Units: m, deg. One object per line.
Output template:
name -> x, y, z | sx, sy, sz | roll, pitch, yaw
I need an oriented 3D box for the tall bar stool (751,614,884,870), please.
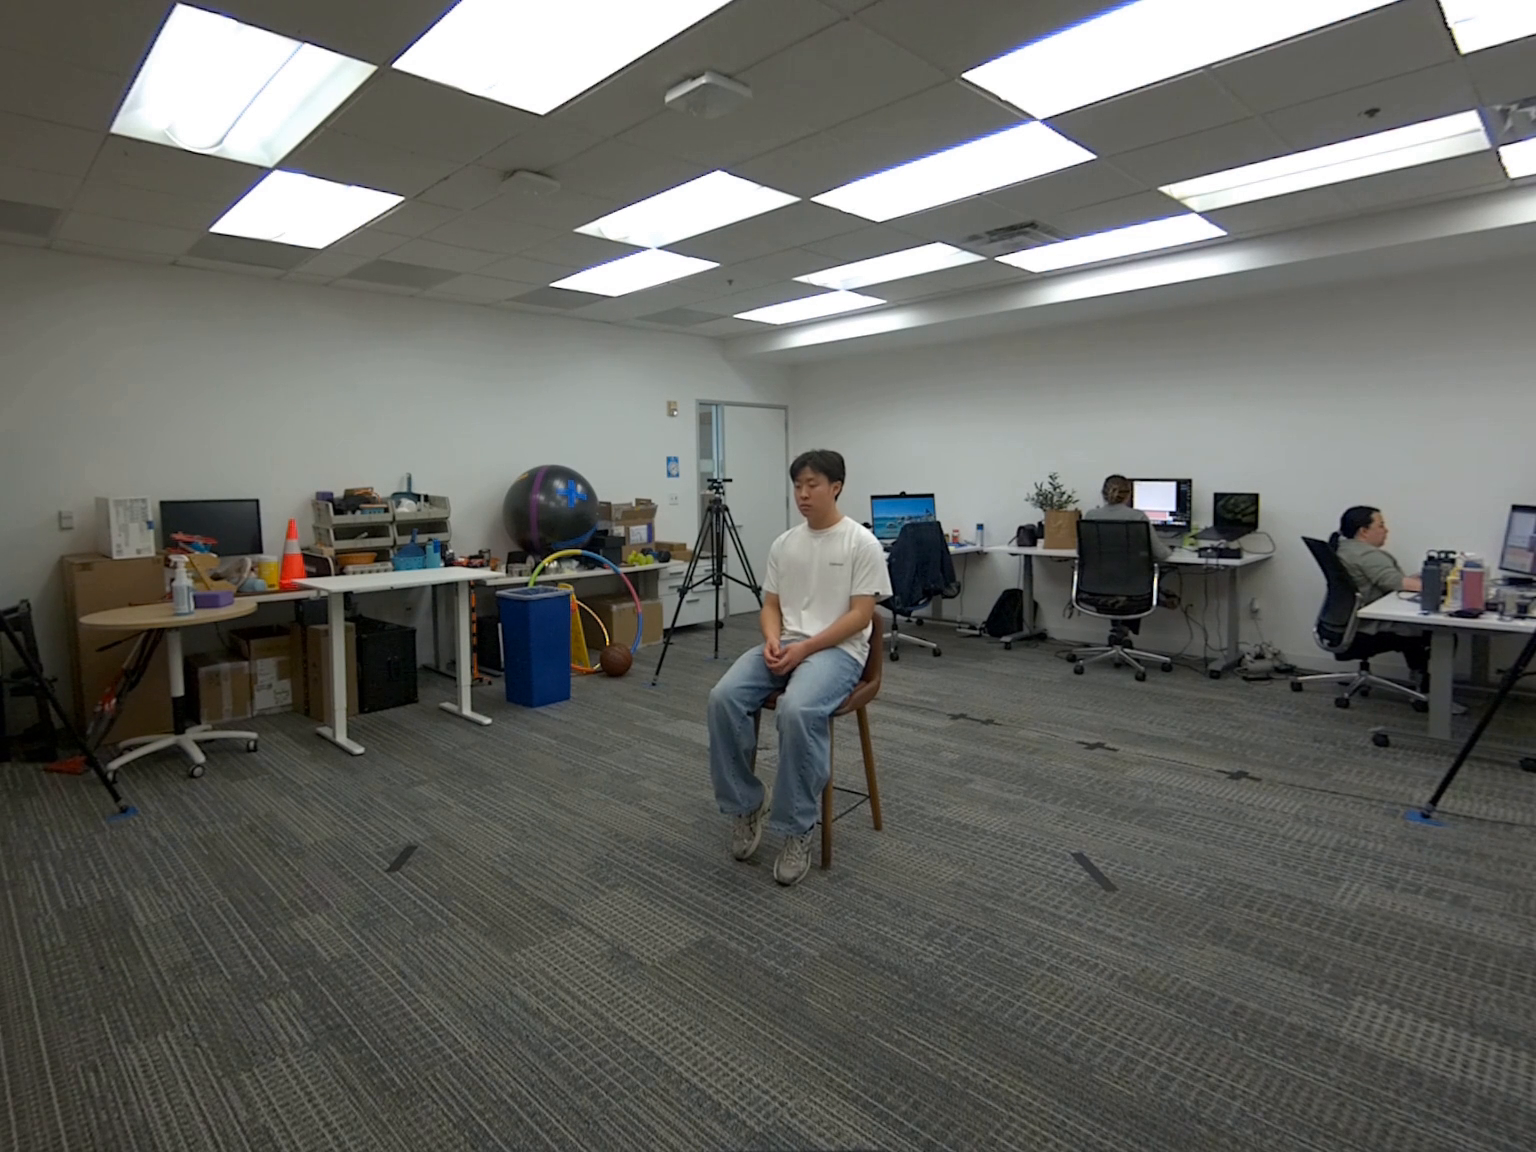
tall bar stool -> 0.186, 0.582, 3.324 | 0.470, 0.888, 0.455 | 4, 3, 36
